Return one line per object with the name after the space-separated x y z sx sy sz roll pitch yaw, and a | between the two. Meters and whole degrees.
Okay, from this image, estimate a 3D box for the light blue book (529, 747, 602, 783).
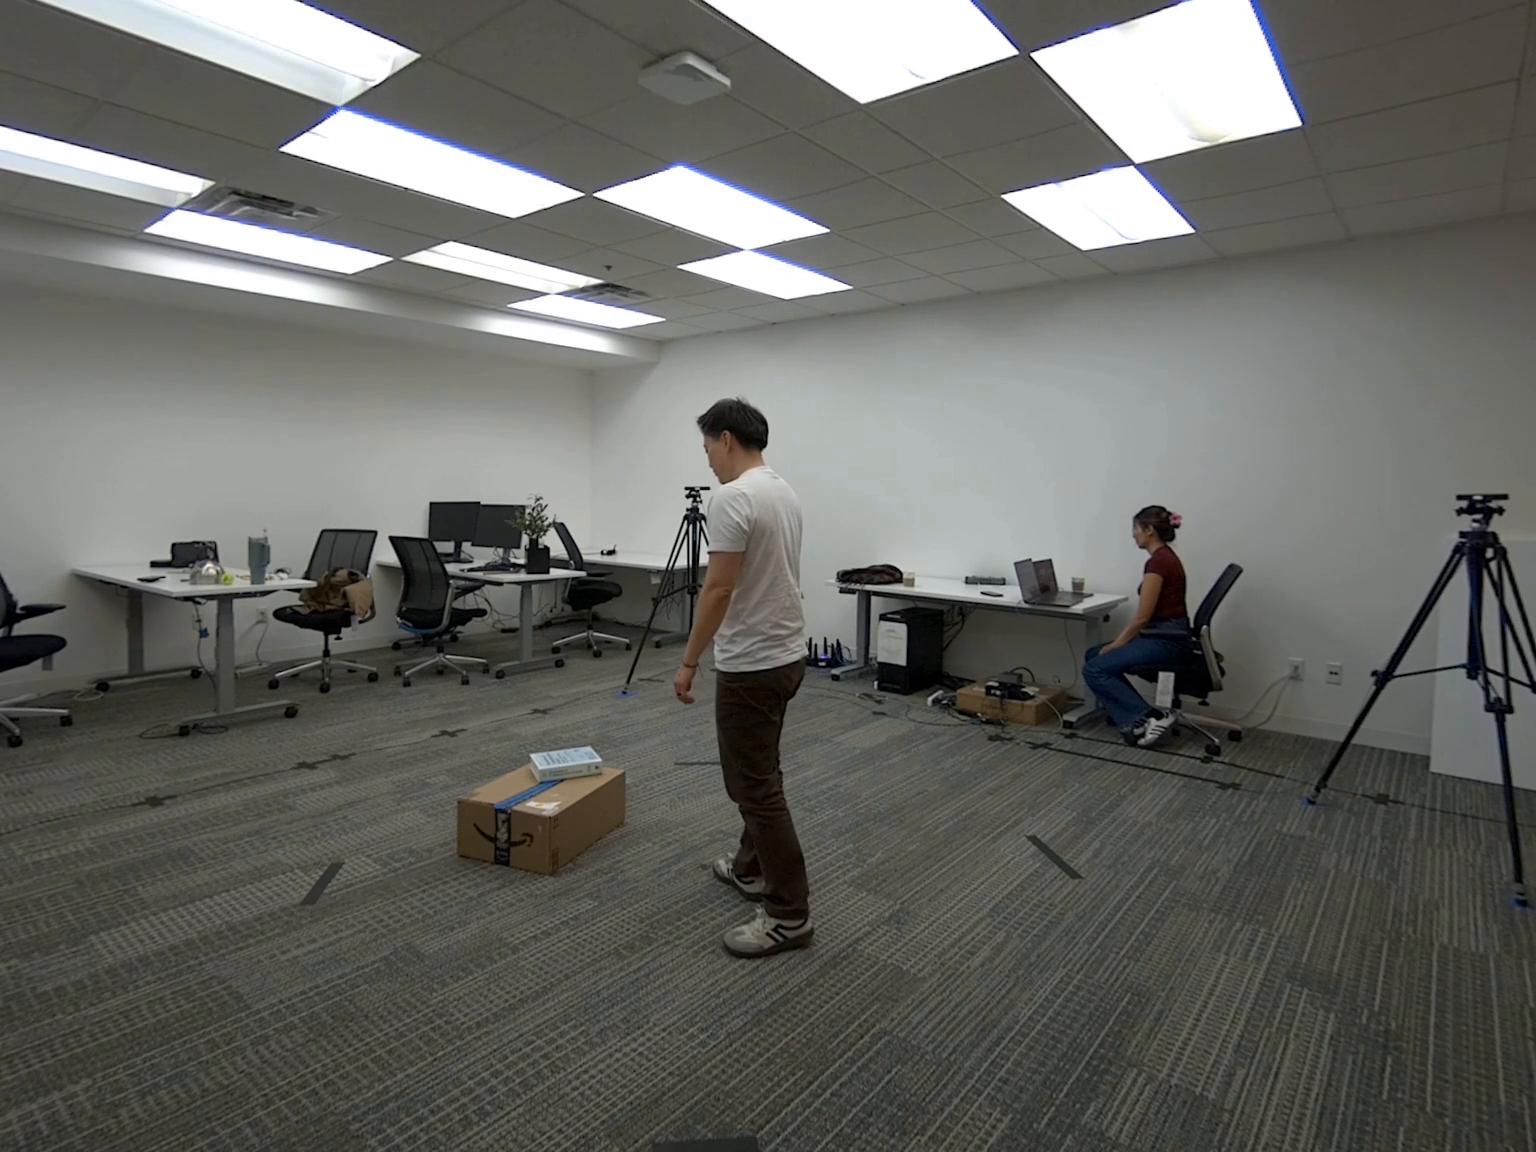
-0.853 0.777 3.520 0.255 0.059 0.197 -3 7 -25 | light blue book
